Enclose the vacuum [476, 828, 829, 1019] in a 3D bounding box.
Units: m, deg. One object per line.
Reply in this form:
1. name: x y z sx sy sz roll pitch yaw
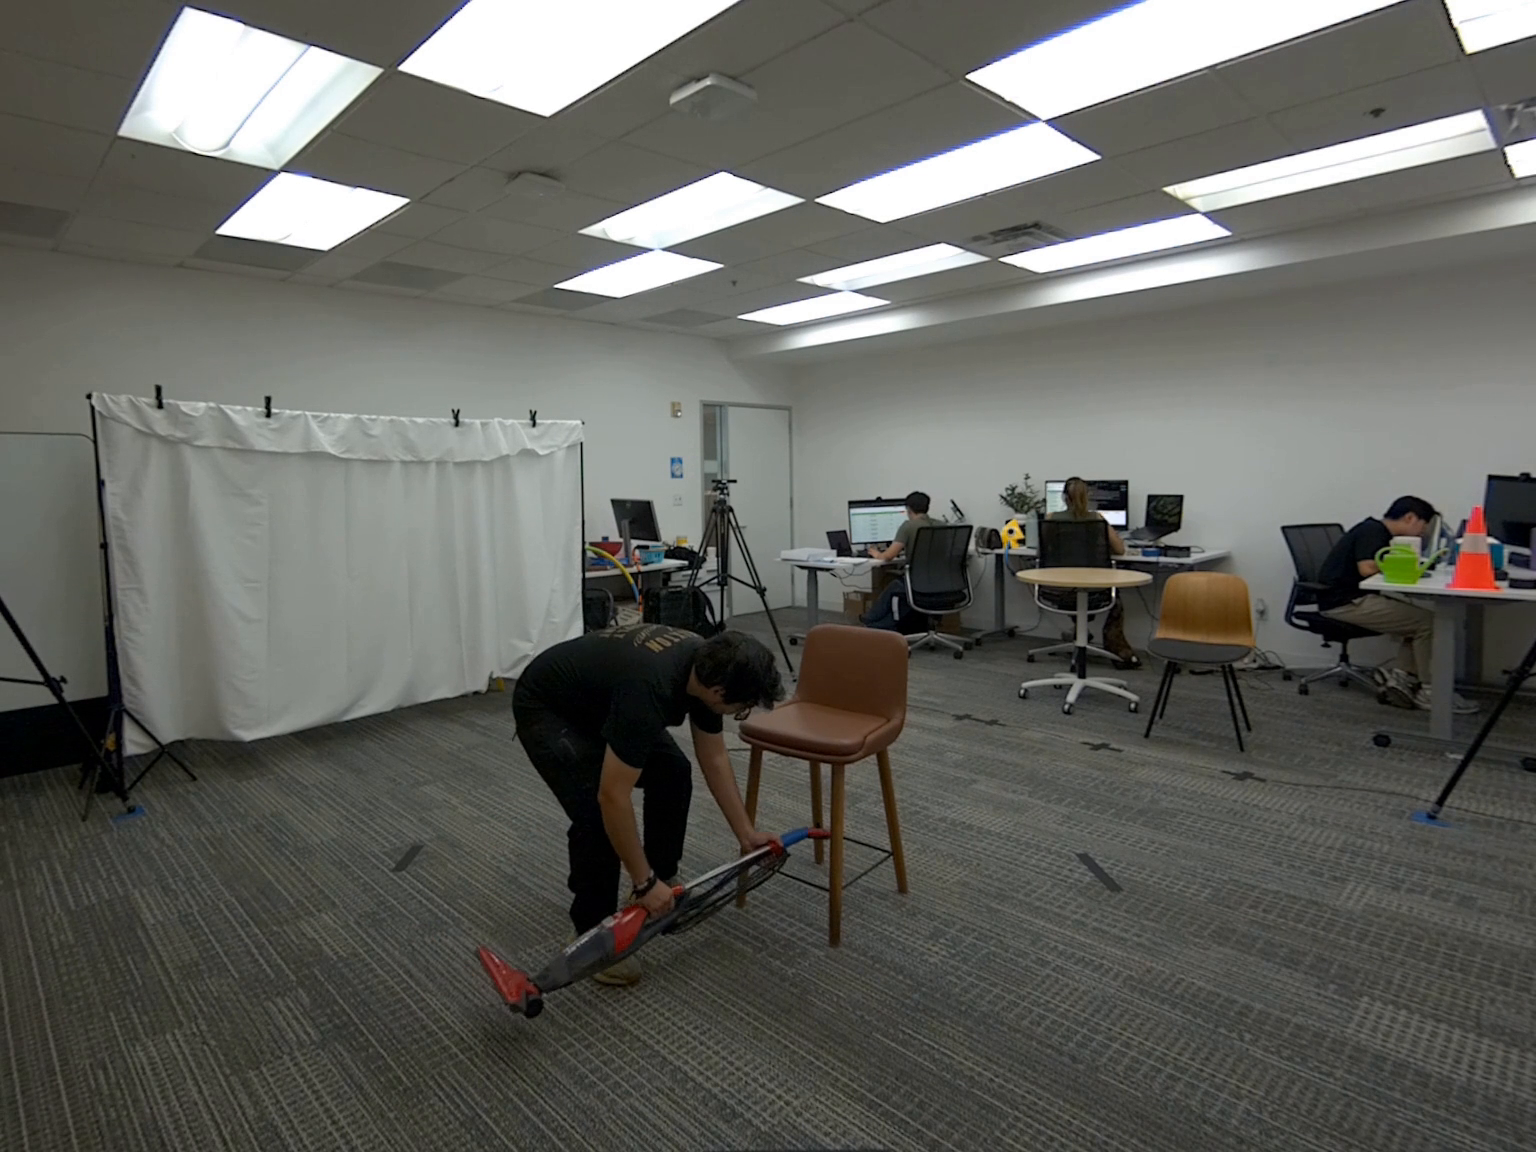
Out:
1. vacuum: -0.241 0.938 2.398 1.028 0.143 0.260 -13 12 -32
